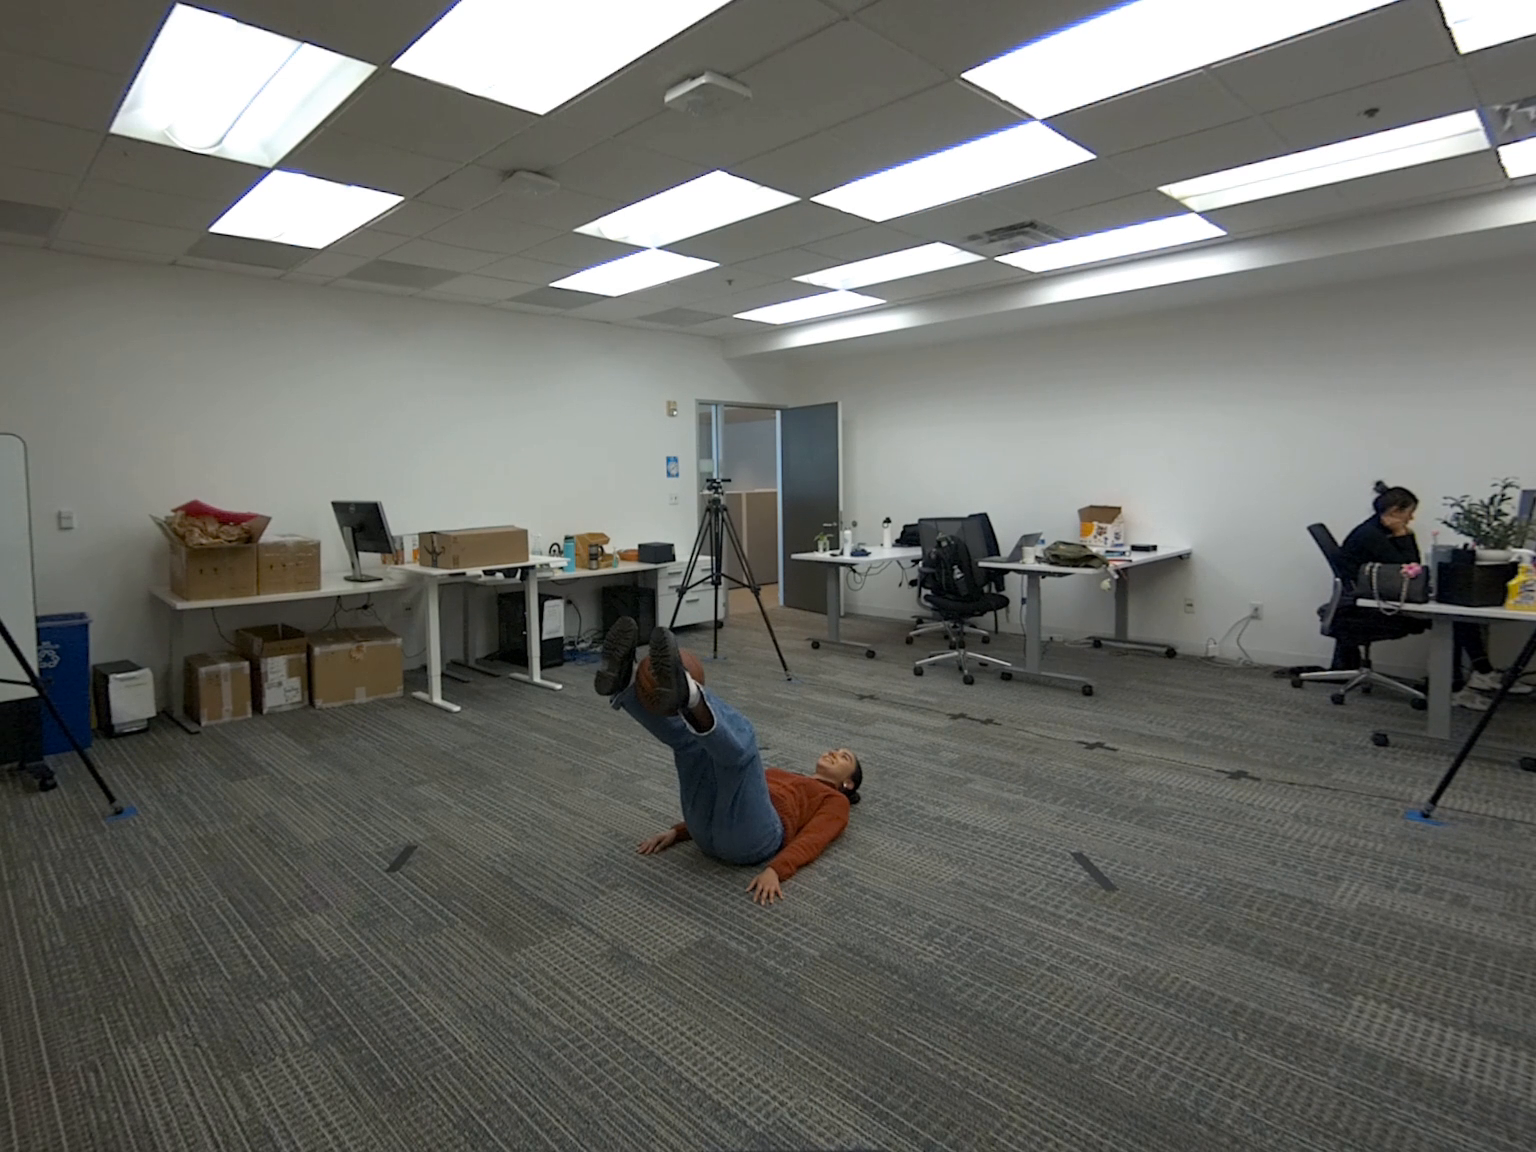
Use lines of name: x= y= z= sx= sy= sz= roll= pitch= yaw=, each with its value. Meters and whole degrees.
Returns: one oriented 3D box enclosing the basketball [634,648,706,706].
basketball: x=-0.331 y=0.356 z=2.879 sx=0.236 sy=0.235 sz=0.237 roll=-1 pitch=5 yaw=-2
